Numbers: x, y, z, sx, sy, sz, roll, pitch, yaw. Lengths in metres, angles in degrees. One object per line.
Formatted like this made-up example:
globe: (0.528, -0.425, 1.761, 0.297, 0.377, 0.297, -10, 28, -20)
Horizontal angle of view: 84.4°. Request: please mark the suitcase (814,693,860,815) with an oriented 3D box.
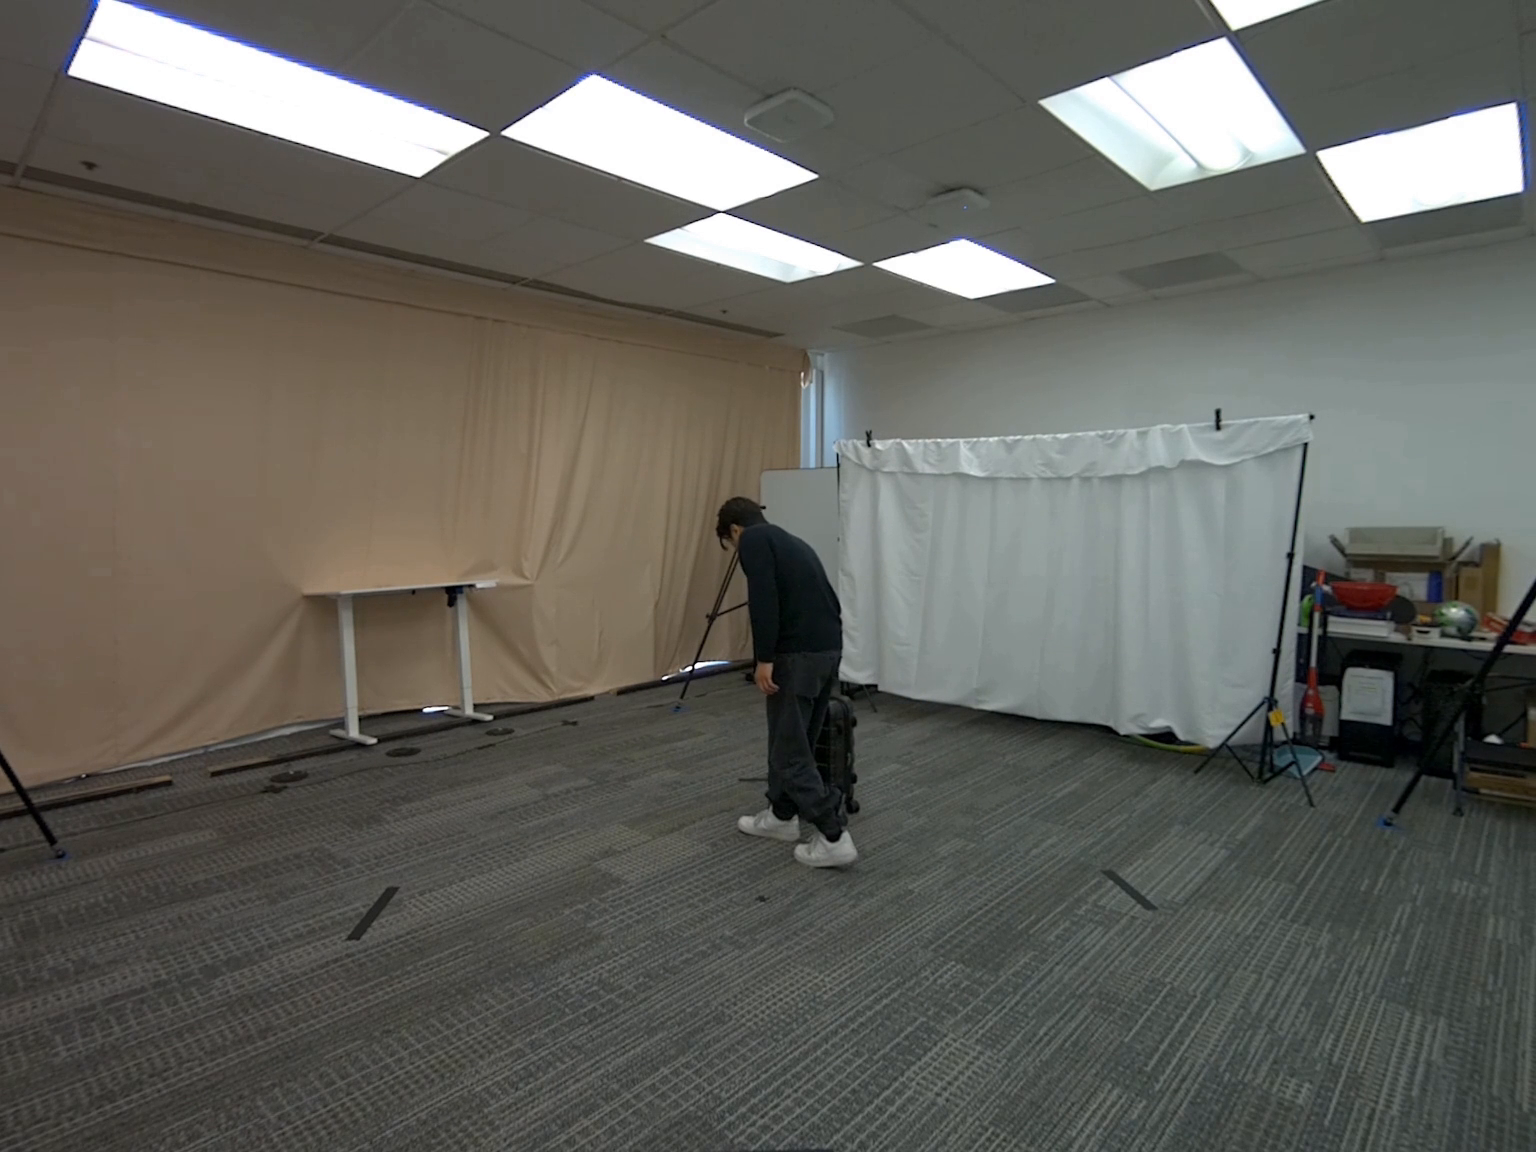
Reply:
suitcase: (0.201, 0.798, 3.822, 0.386, 0.549, 0.241, 0, 2, 31)
